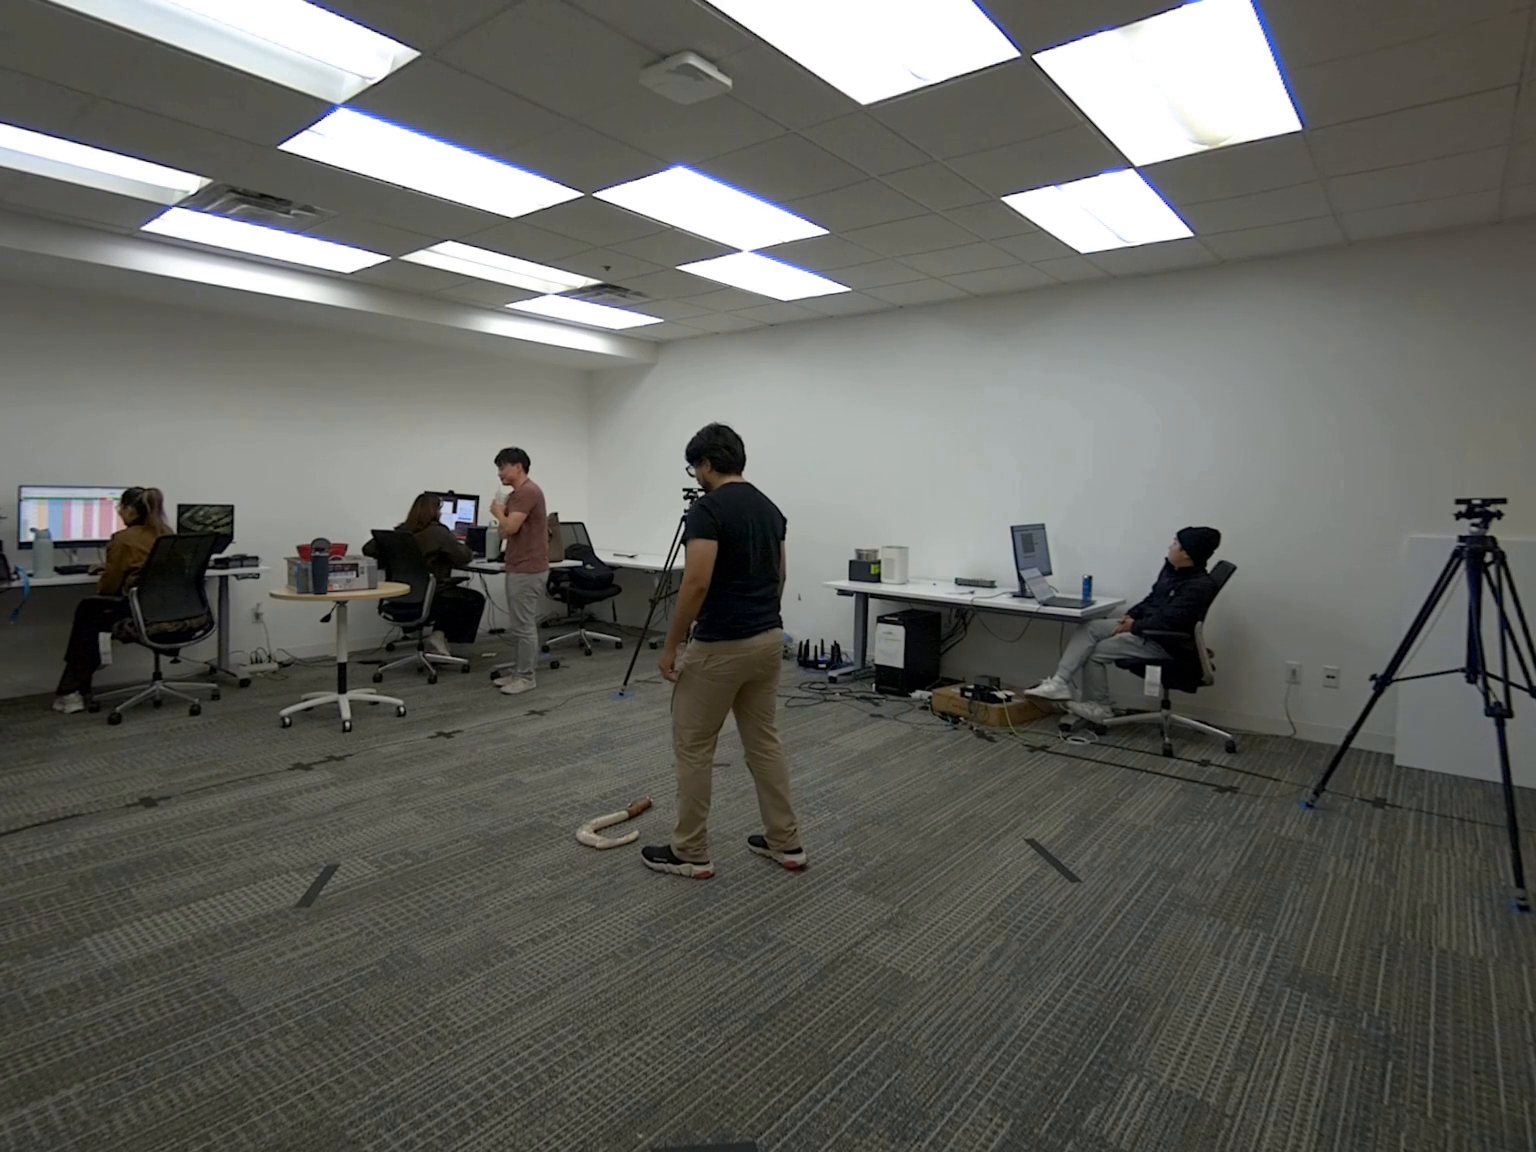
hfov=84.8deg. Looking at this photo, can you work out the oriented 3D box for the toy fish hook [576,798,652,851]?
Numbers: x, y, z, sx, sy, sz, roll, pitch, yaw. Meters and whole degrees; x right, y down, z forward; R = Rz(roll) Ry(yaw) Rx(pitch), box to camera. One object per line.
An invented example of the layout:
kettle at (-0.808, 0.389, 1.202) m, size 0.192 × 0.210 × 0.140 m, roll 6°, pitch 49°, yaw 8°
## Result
toy fish hook at (-0.589, 1.010, 3.498) m, size 0.231 × 0.048 × 0.495 m, roll 11°, pitch 11°, yaw 25°
